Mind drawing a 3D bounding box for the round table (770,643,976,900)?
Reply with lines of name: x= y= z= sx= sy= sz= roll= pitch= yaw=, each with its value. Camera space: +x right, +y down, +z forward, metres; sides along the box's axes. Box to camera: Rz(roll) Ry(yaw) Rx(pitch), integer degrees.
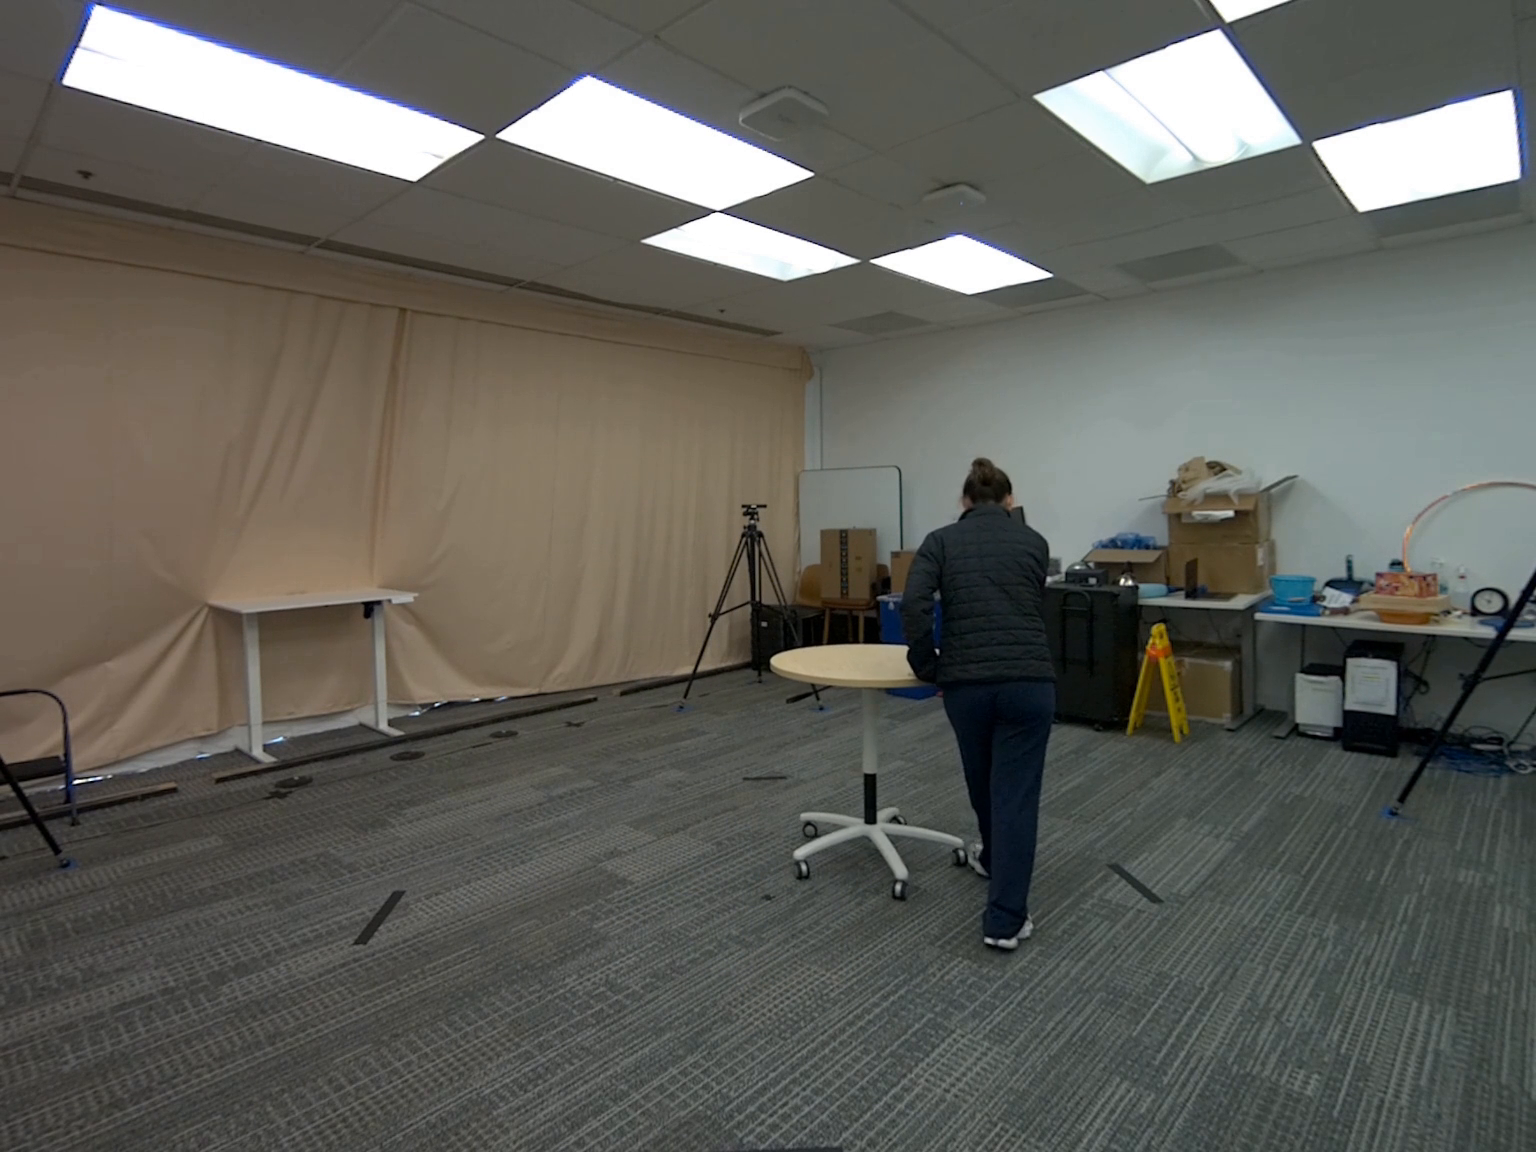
round table: x=0.423 y=0.715 z=3.278 sx=0.784 sy=0.785 sz=0.788 roll=-1 pitch=4 yaw=-2
